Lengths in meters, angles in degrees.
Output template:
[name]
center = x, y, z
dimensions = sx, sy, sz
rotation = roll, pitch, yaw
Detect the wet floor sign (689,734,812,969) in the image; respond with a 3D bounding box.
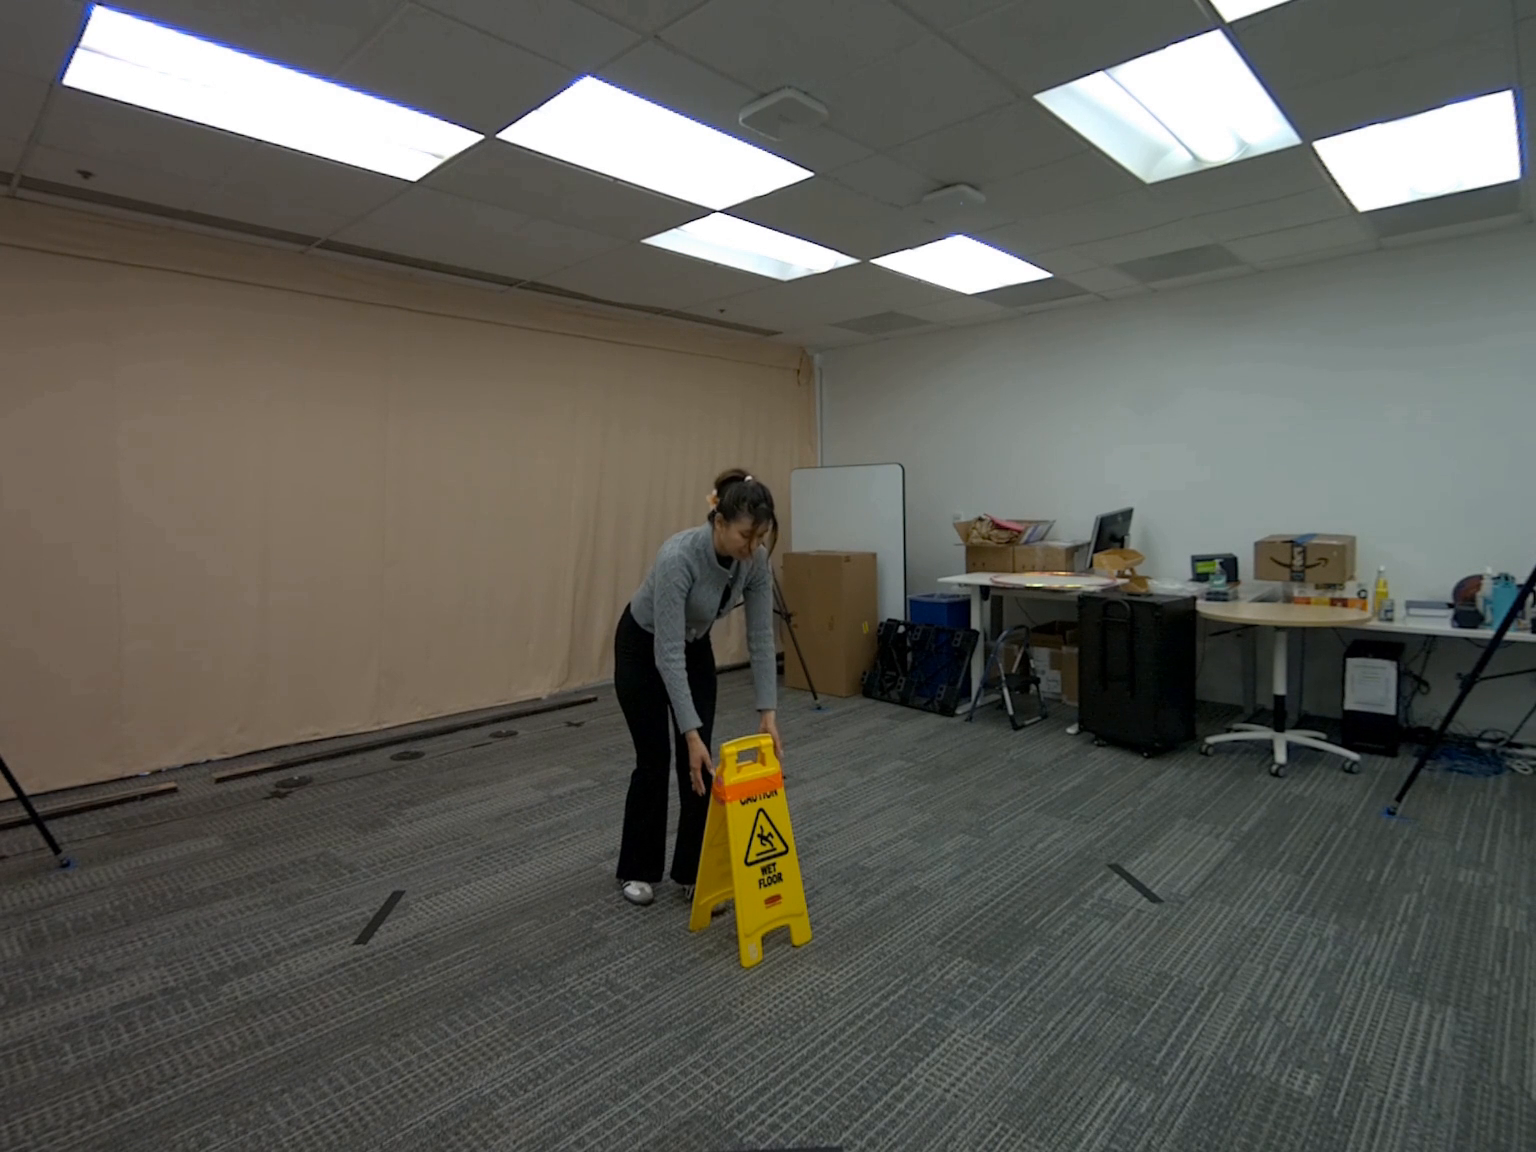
[wet floor sign]
center = -0.056, 0.843, 2.703
dimensions = 0.274, 0.644, 0.299
rotation = -4, 6, -38
